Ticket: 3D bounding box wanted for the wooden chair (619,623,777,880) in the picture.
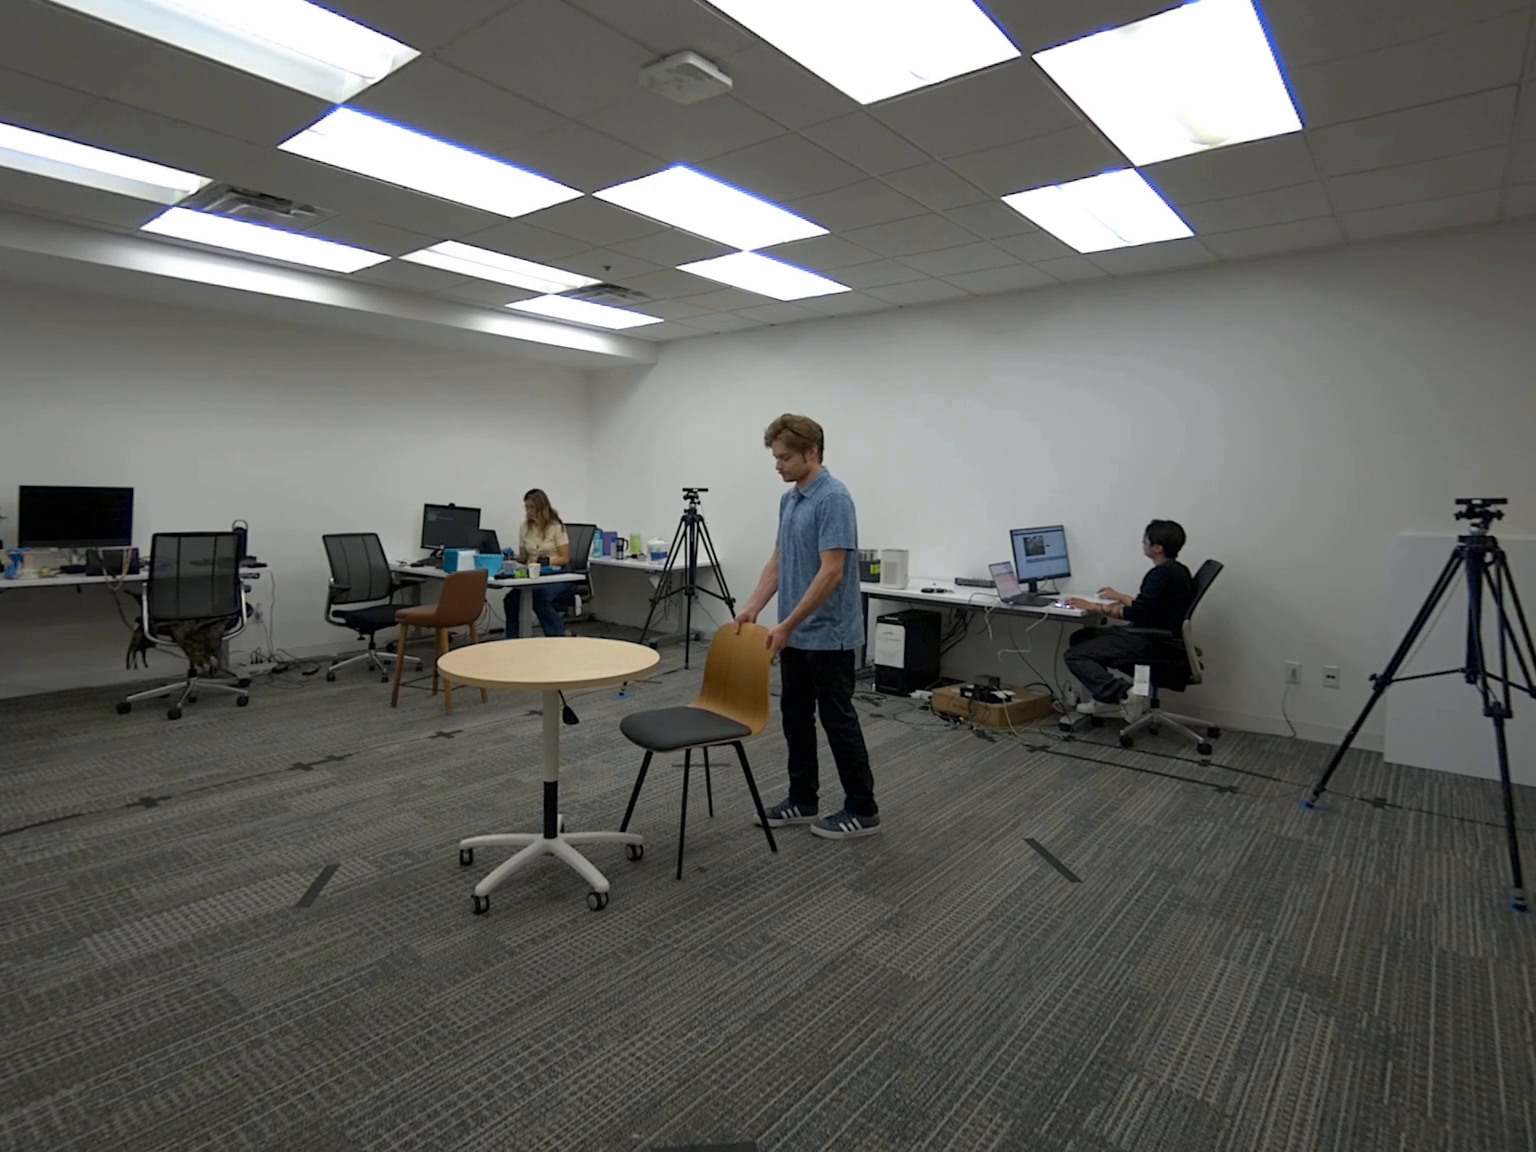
[{"bbox_3d":[-0.288,0.622,3.291,0.506,0.877,0.494,4,1,-37],"label":"wooden chair"}]
